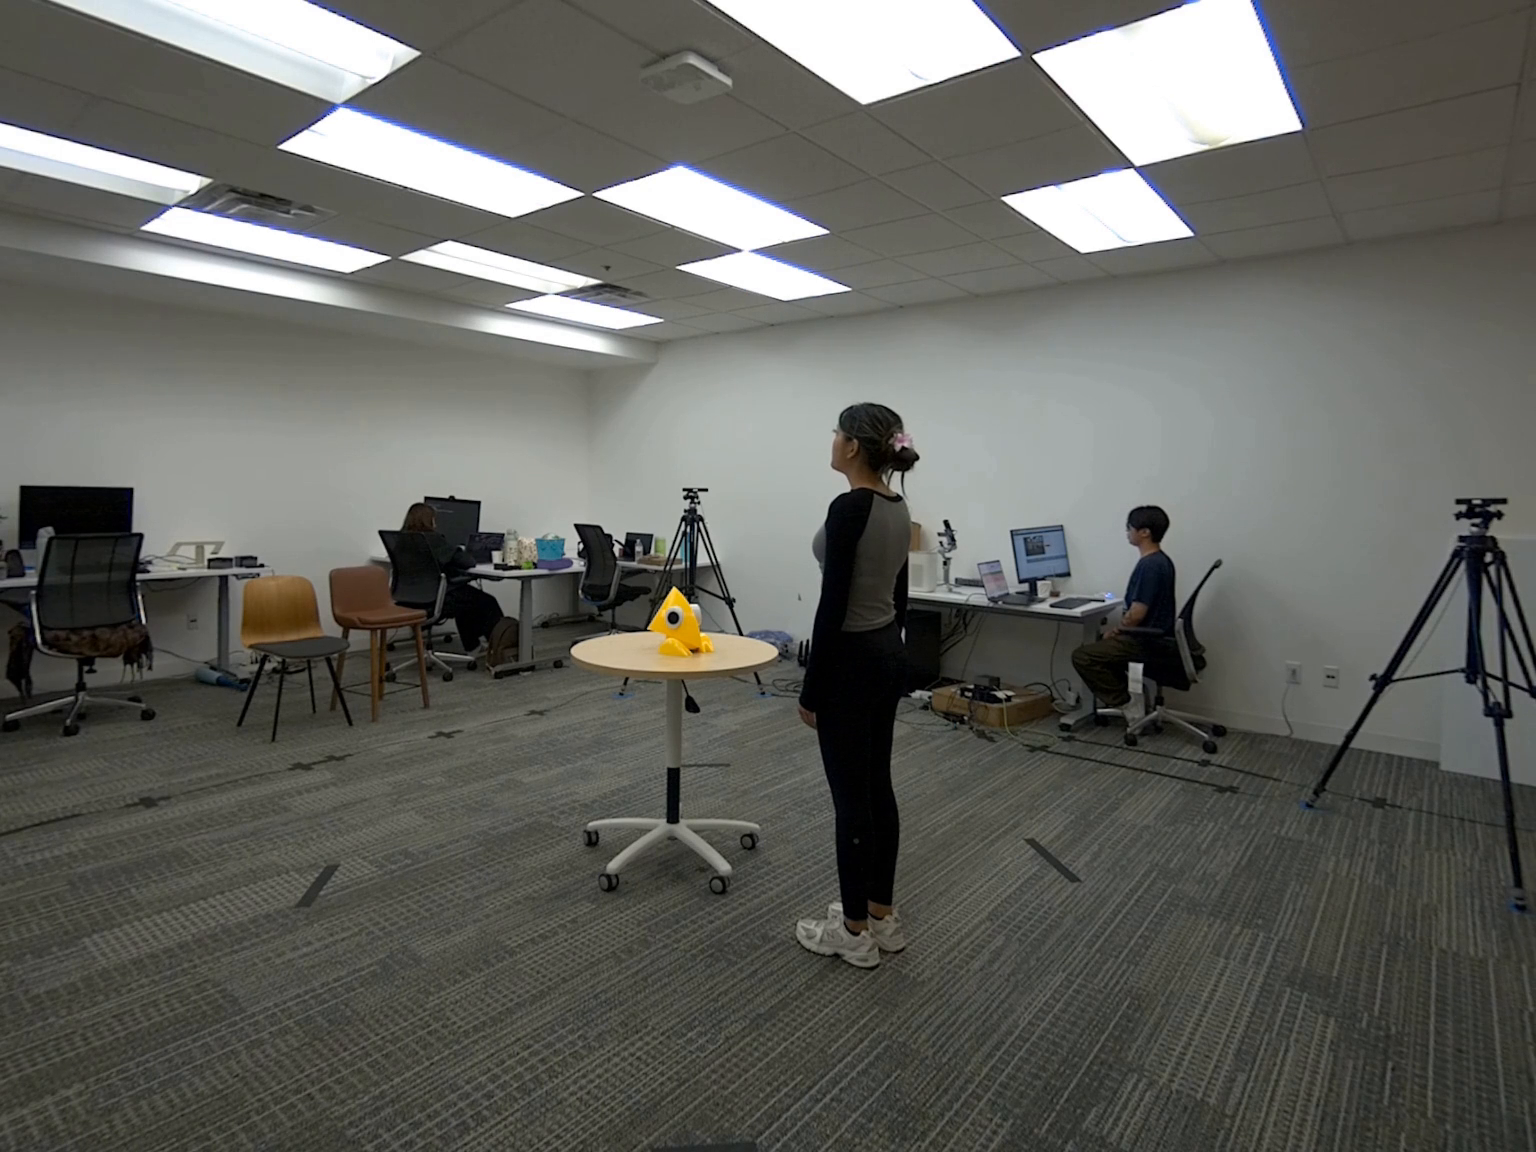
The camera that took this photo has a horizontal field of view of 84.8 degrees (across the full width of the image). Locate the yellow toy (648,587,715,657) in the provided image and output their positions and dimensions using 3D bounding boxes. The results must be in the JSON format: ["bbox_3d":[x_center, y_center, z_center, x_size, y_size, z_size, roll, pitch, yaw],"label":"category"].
[{"bbox_3d":[-0.316,0.160,3.121,0.198,0.230,0.200,-3,7,-45],"label":"yellow toy"}]
